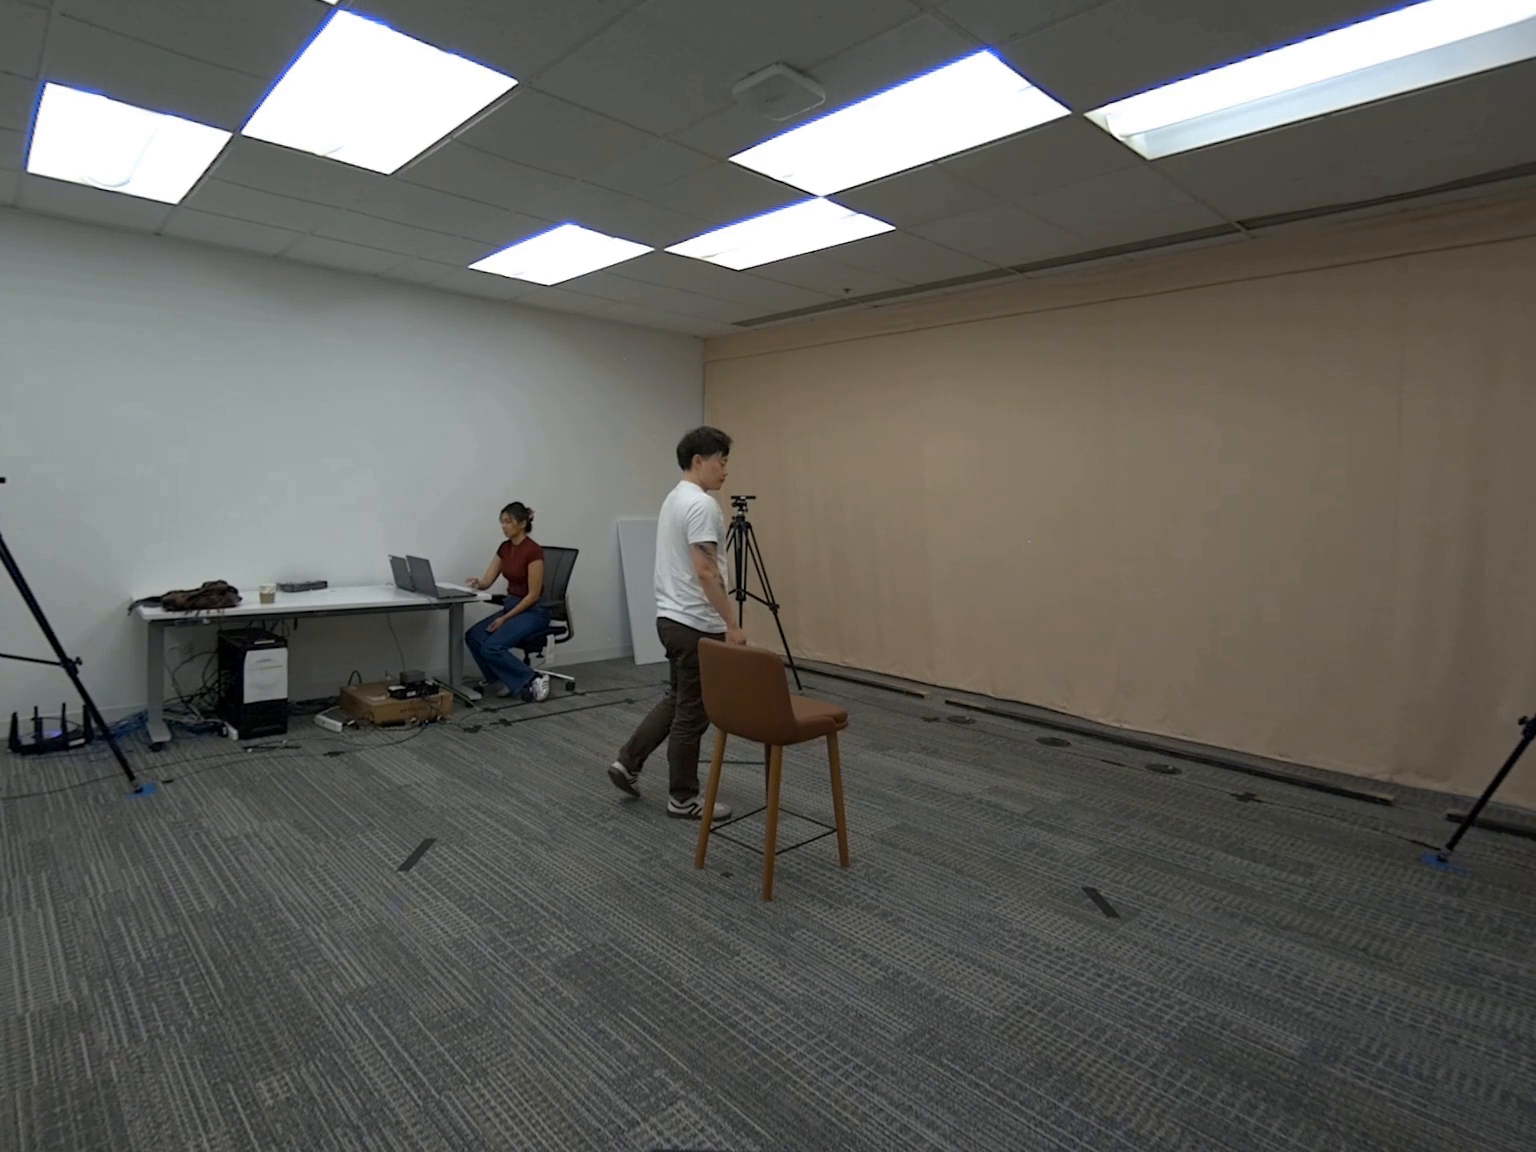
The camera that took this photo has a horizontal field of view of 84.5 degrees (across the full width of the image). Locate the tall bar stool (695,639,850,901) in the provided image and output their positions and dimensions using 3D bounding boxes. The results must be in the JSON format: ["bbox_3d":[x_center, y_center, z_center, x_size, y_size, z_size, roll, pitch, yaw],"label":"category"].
[{"bbox_3d":[0.014,0.665,3.156,0.468,0.887,0.457,4,7,44],"label":"tall bar stool"}]
